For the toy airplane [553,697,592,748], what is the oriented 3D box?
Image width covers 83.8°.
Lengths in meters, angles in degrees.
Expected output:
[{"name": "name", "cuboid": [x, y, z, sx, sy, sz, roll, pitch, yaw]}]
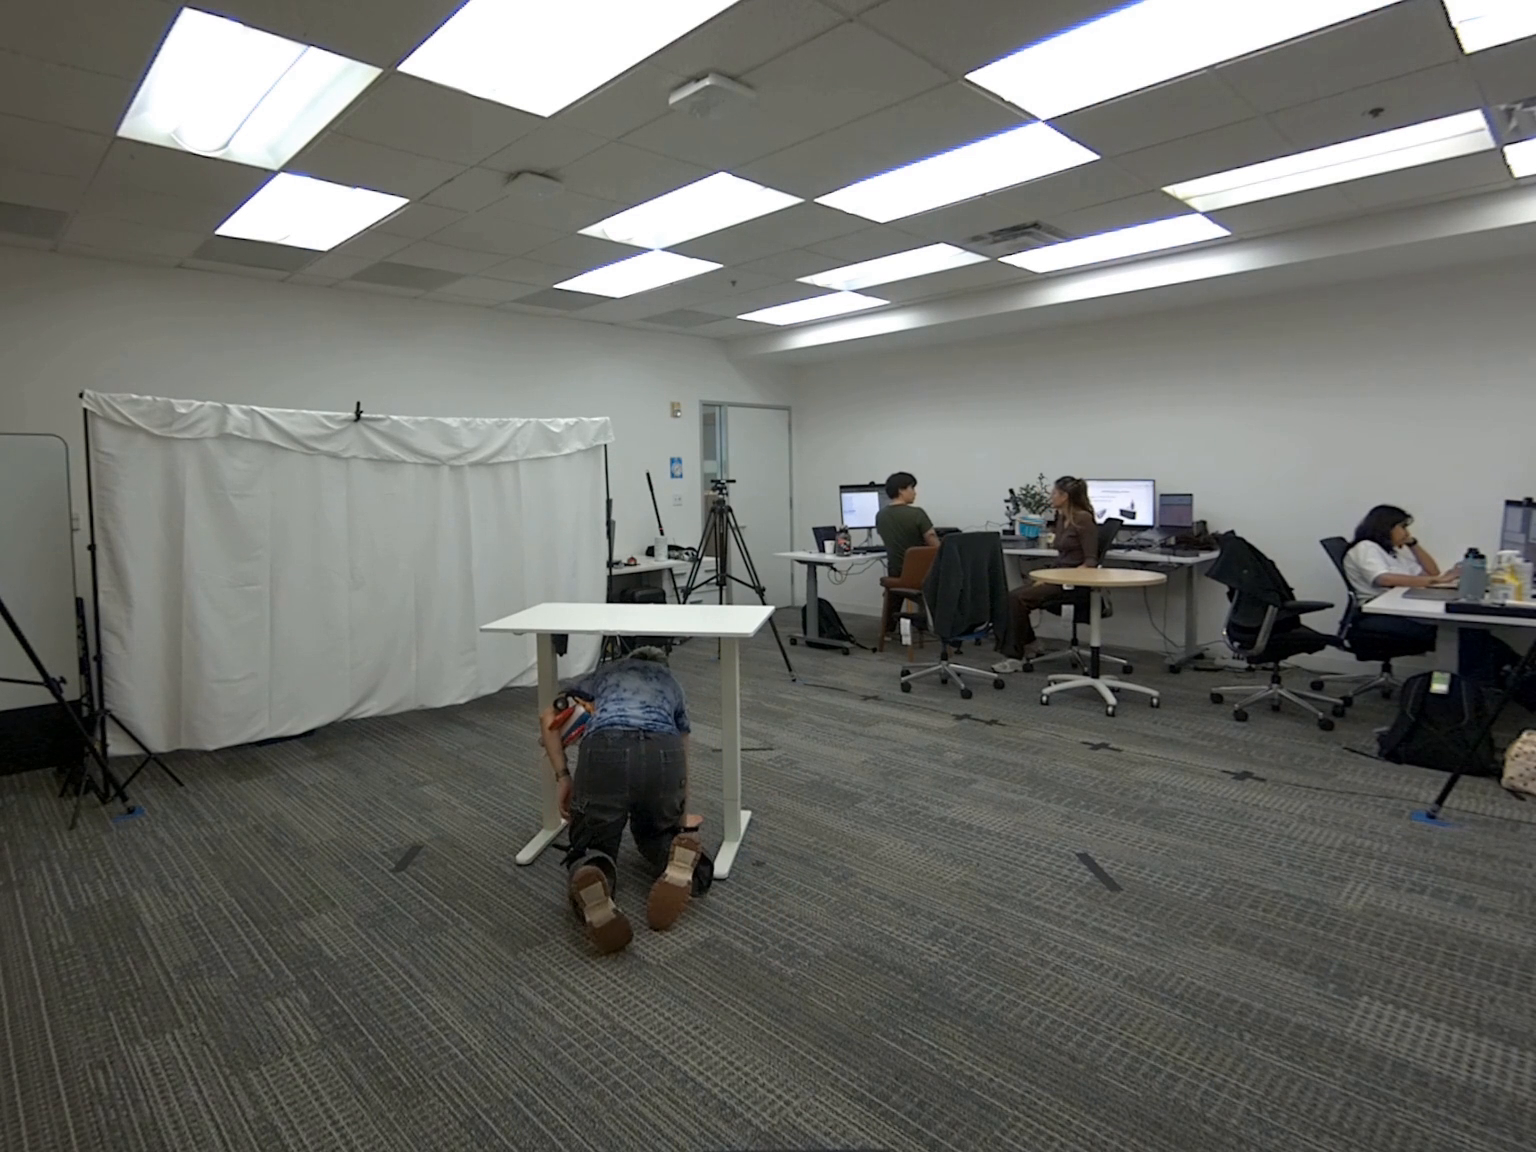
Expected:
[{"name": "toy airplane", "cuboid": [-0.721, 0.550, 3.120, 0.159, 0.255, 0.250, 32, 39, 11]}]
